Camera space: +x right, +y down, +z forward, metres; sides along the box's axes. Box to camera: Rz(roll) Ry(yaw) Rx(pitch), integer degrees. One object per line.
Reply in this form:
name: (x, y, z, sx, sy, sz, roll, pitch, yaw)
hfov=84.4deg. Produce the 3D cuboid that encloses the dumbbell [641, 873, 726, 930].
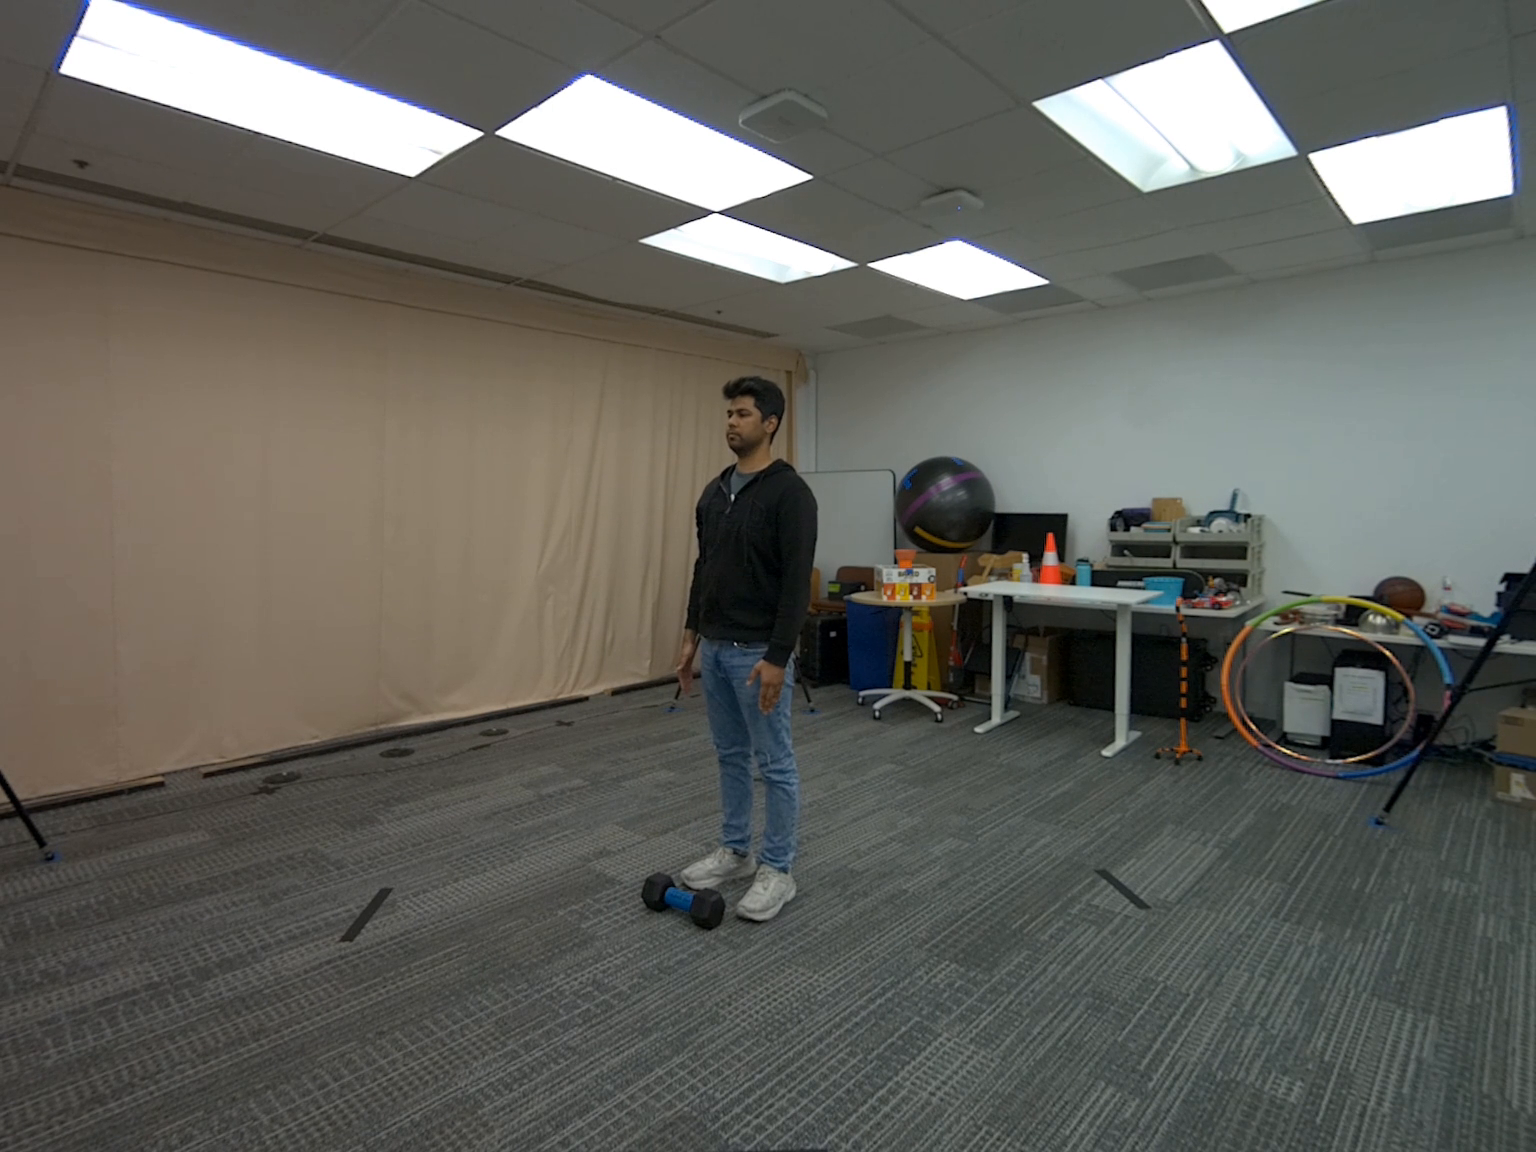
dumbbell: (-0.280, 1.096, 2.861, 0.303, 0.120, 0.108, 3, 34, 35)
